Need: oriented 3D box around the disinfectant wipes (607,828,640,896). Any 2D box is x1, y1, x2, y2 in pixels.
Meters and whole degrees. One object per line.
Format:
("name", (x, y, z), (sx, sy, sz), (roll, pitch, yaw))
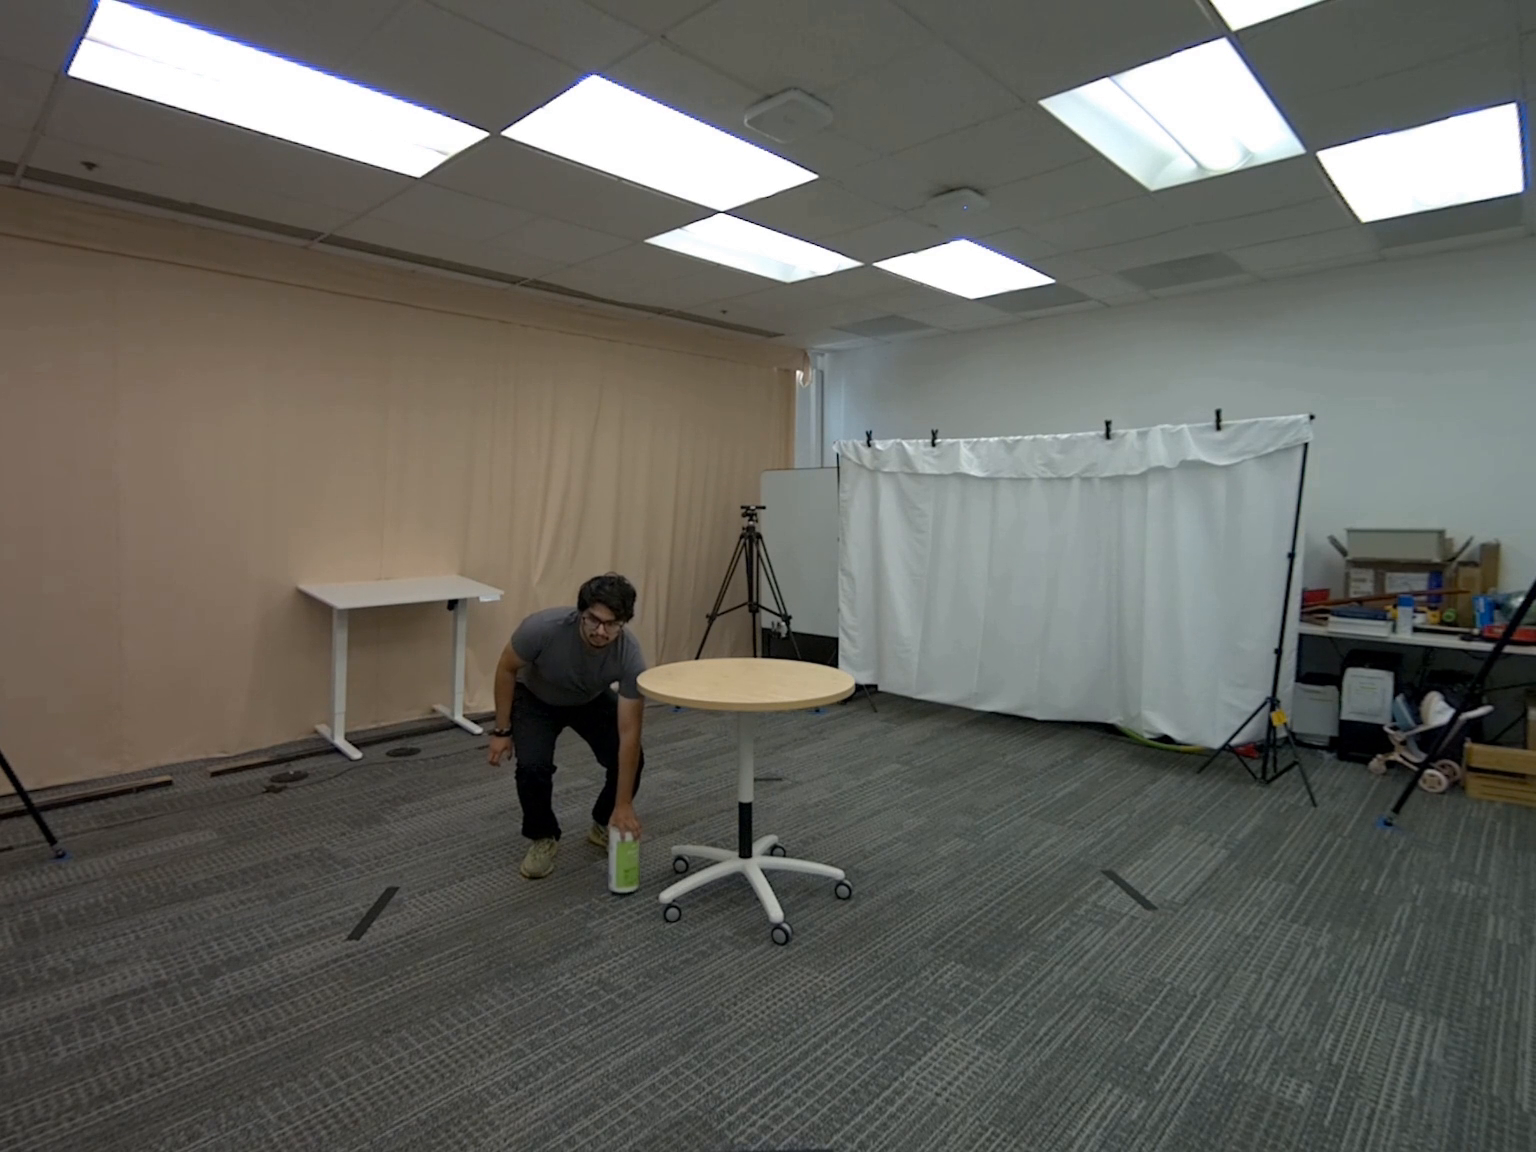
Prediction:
("disinfectant wipes", (-0.525, 1.023, 3.048), (0.118, 0.217, 0.118), (2, 0, -2))
